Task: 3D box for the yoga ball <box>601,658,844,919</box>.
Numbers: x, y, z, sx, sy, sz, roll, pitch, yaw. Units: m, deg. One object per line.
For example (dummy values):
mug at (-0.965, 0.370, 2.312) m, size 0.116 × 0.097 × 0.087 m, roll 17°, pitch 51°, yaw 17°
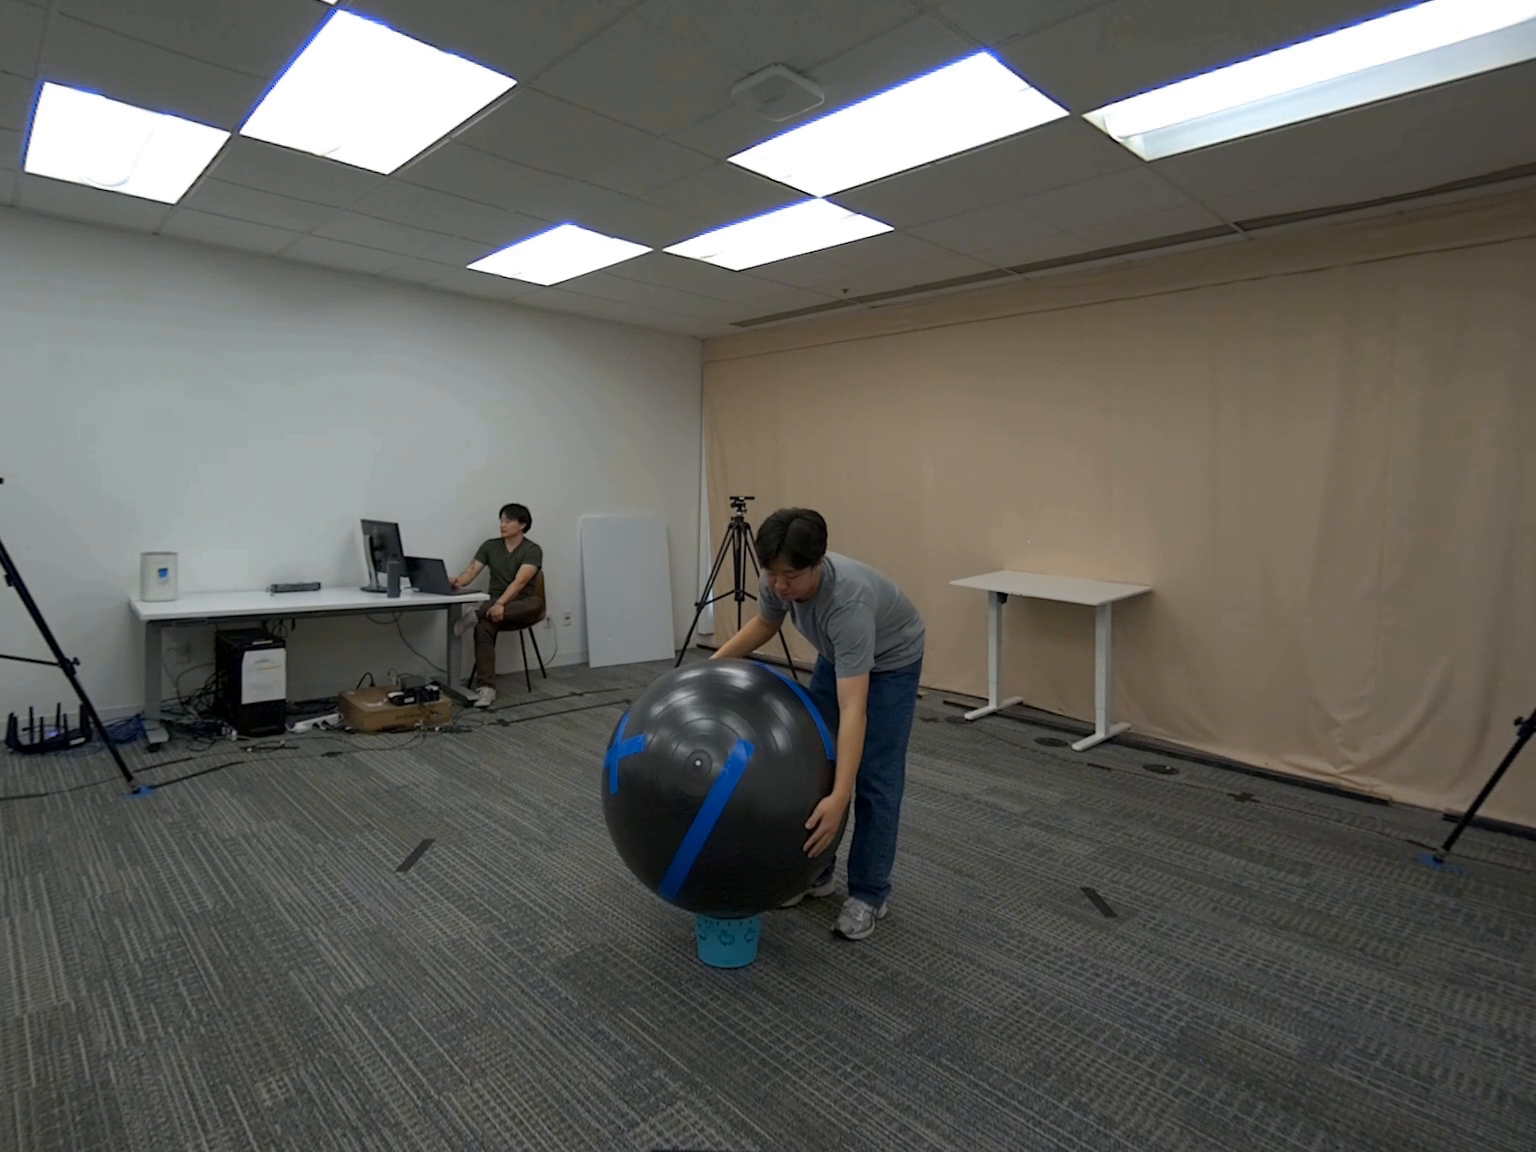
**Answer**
yoga ball at (-0.132, 0.640, 2.581) m, size 0.757 × 0.756 × 0.761 m, roll 1°, pitch 4°, yaw -1°
